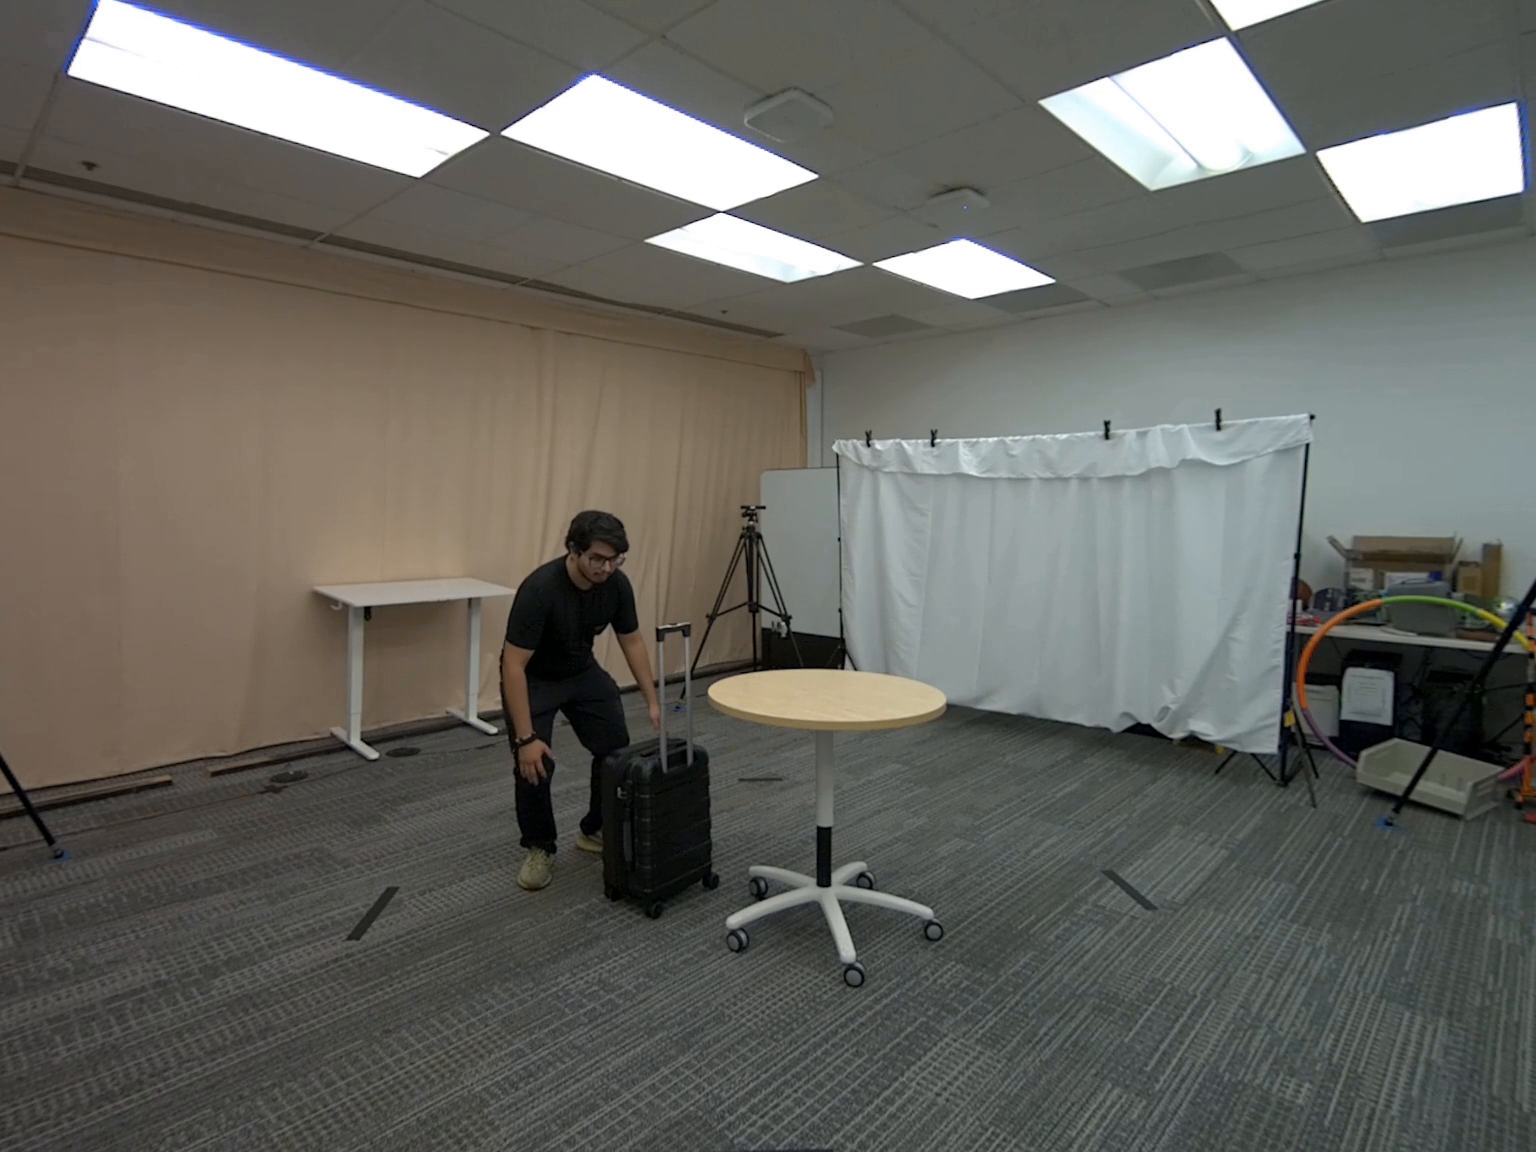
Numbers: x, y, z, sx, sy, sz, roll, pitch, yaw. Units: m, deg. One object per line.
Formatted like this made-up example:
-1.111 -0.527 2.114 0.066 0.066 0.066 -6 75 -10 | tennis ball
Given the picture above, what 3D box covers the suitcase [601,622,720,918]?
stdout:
-0.408 0.665 2.997 0.265 0.977 0.373 -2 3 38 | suitcase
